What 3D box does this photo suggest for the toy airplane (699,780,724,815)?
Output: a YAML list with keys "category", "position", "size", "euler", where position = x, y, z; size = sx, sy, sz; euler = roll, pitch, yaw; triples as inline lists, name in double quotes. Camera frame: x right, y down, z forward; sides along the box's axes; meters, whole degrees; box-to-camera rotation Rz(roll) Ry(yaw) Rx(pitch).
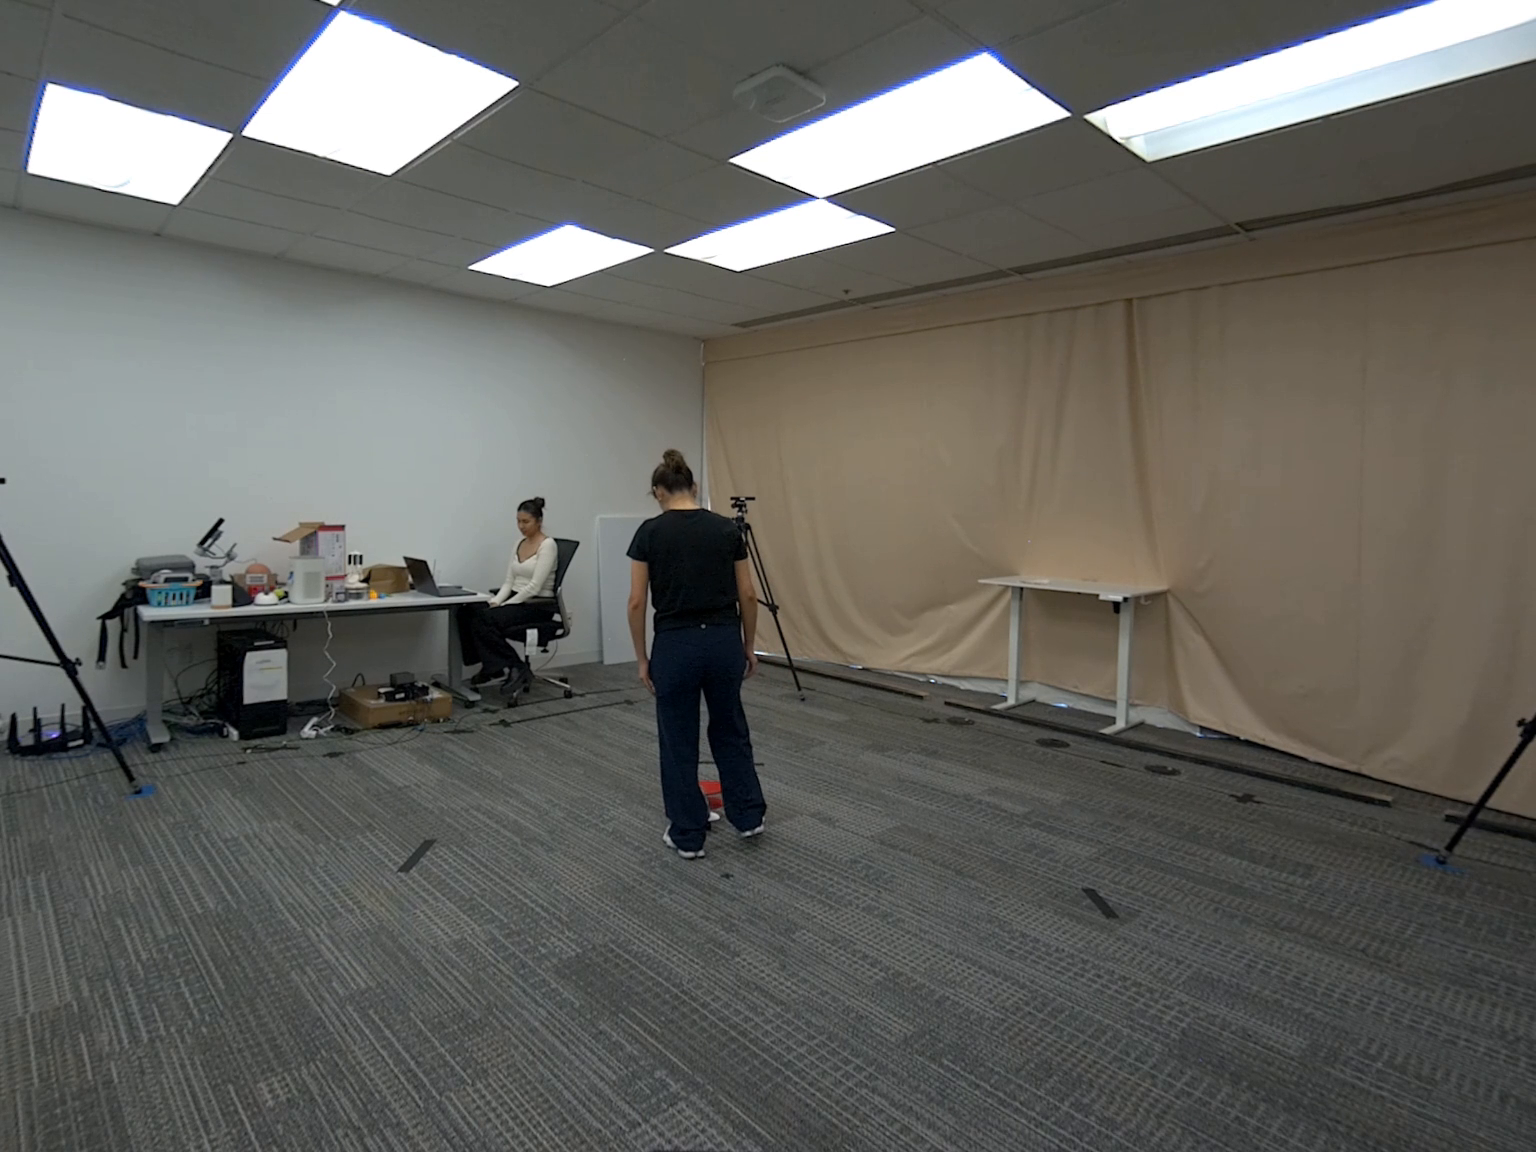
- category: "toy airplane"
  position: [-0.288, 0.987, 3.608]
  size: [0.266, 0.156, 0.245]
  euler: [4, 6, 41]
